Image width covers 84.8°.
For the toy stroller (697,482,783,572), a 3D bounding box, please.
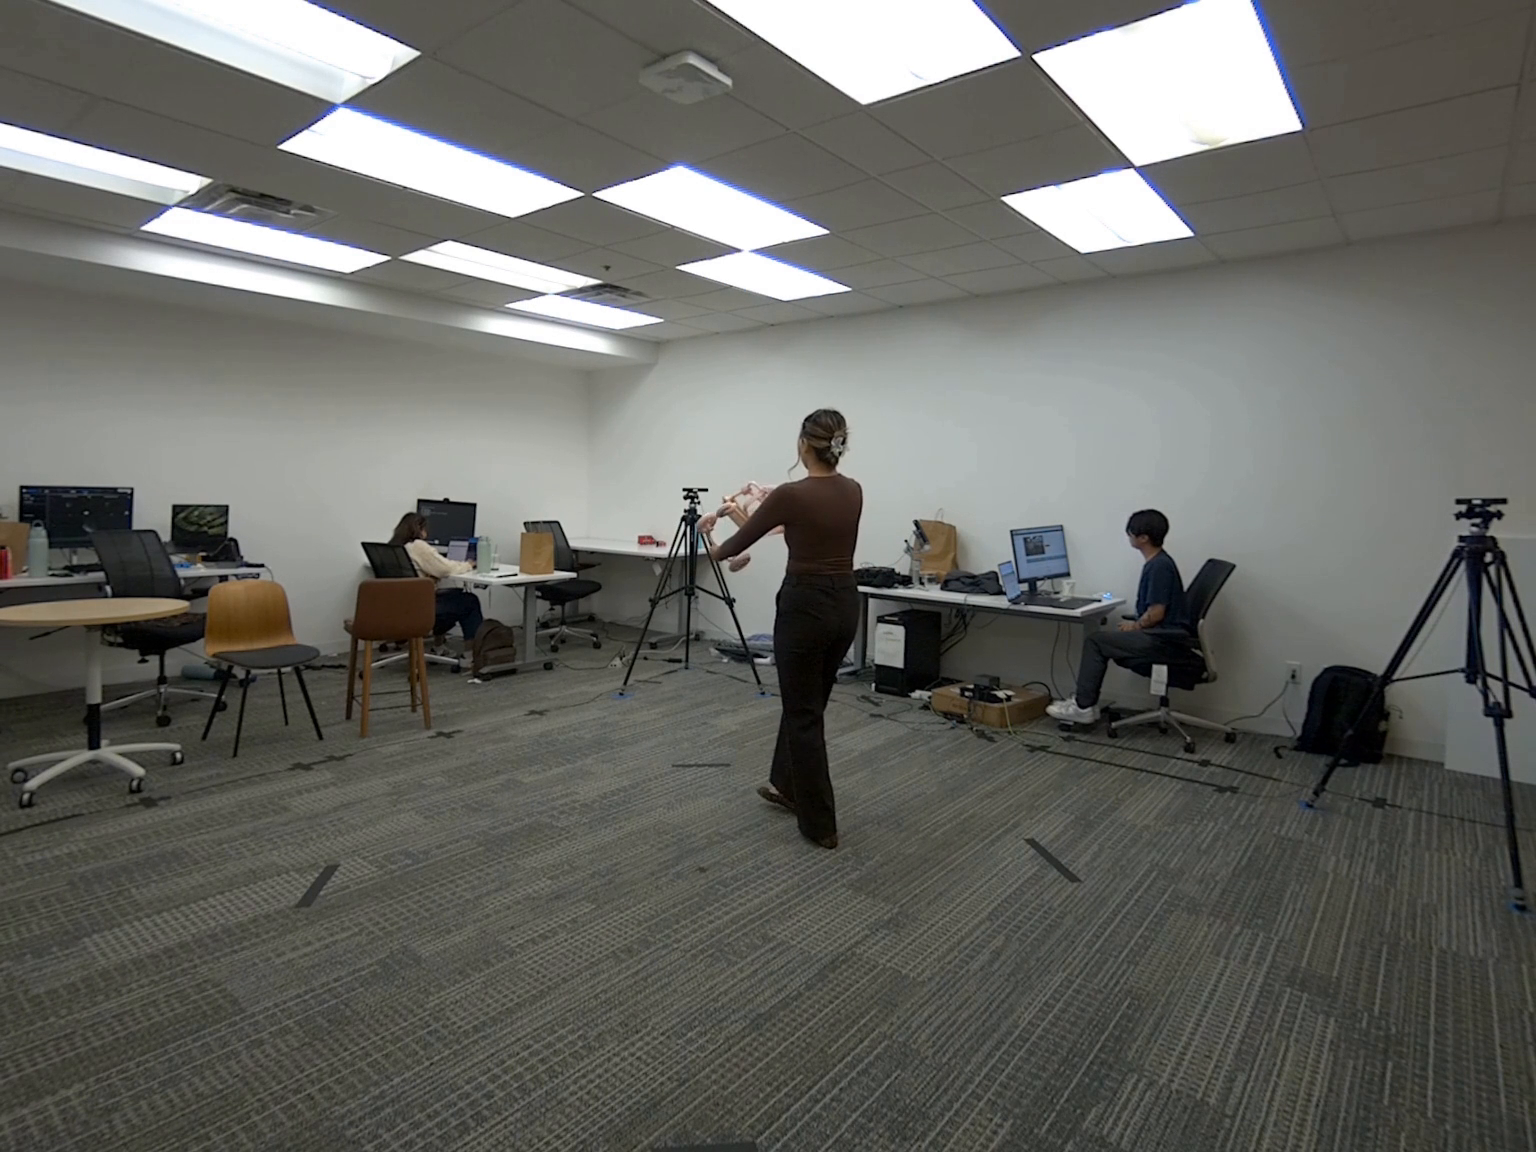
[{"bbox_3d":[-0.072,-0.270,3.760,0.526,0.335,0.291,-24,57,-36],"label":"toy stroller"}]
